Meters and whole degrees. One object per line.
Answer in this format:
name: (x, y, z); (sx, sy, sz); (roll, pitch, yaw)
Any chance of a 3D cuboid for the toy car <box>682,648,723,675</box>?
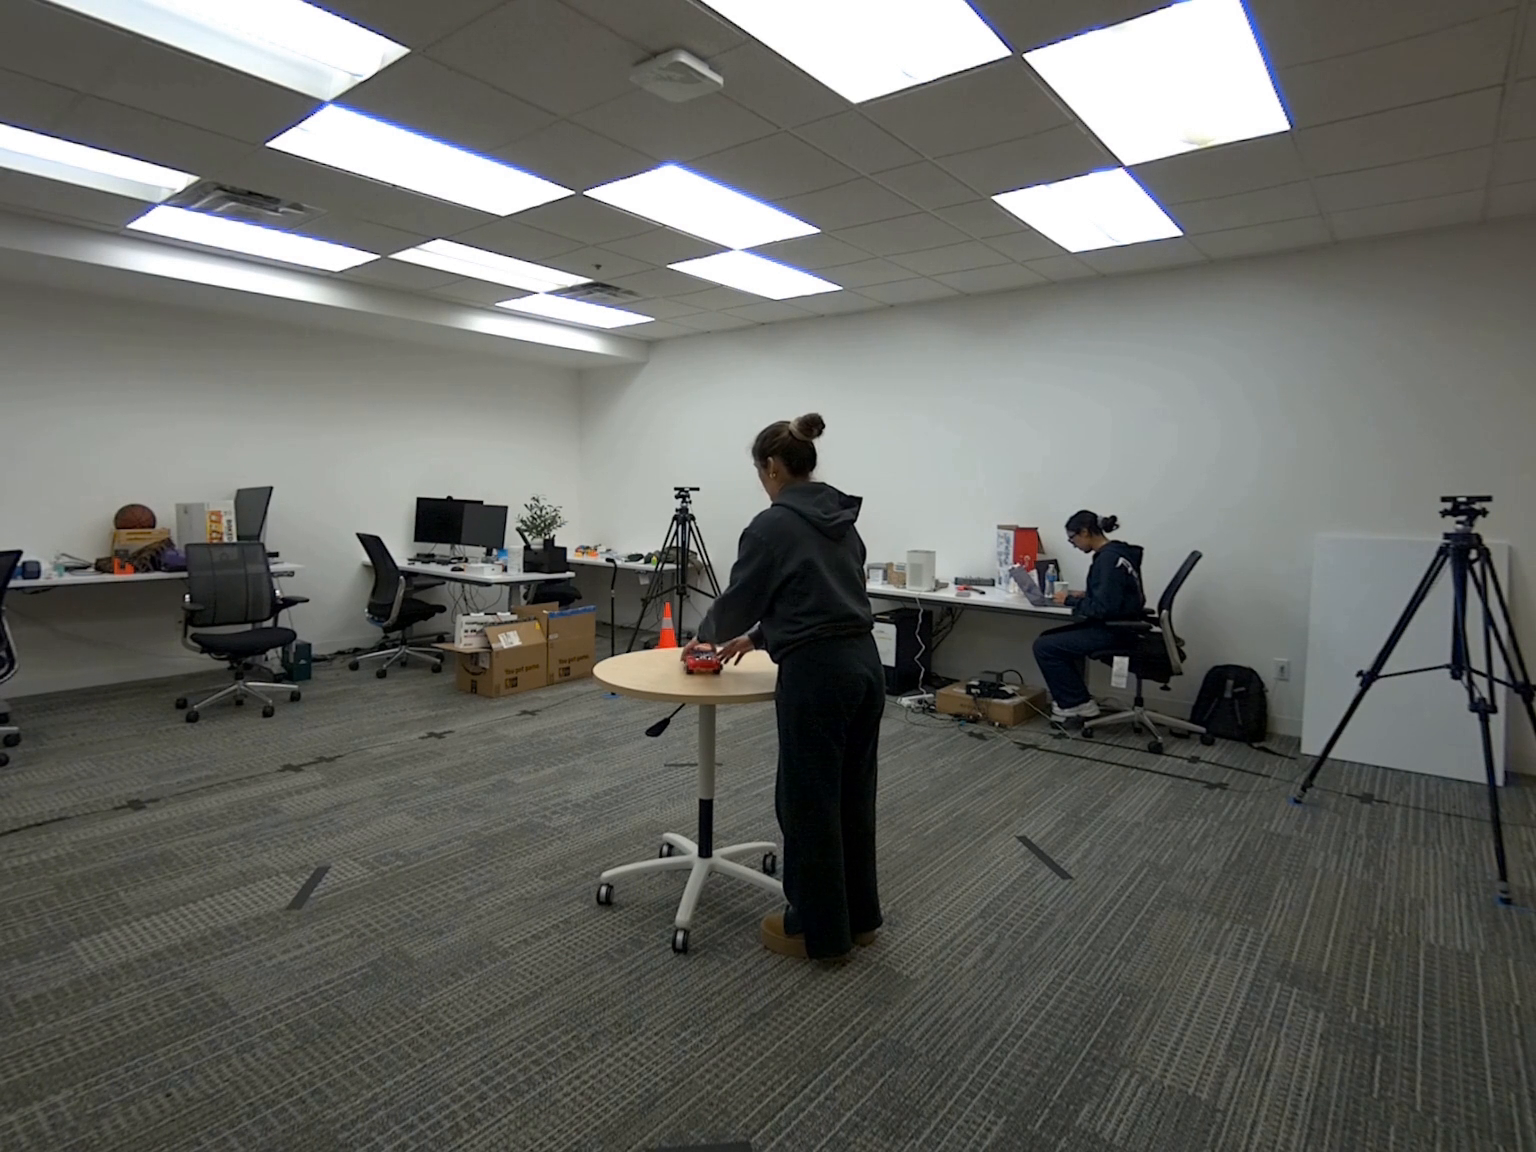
toy car: (-0.229, 0.276, 2.873); (0.129, 0.082, 0.260); (-1, 17, -7)
